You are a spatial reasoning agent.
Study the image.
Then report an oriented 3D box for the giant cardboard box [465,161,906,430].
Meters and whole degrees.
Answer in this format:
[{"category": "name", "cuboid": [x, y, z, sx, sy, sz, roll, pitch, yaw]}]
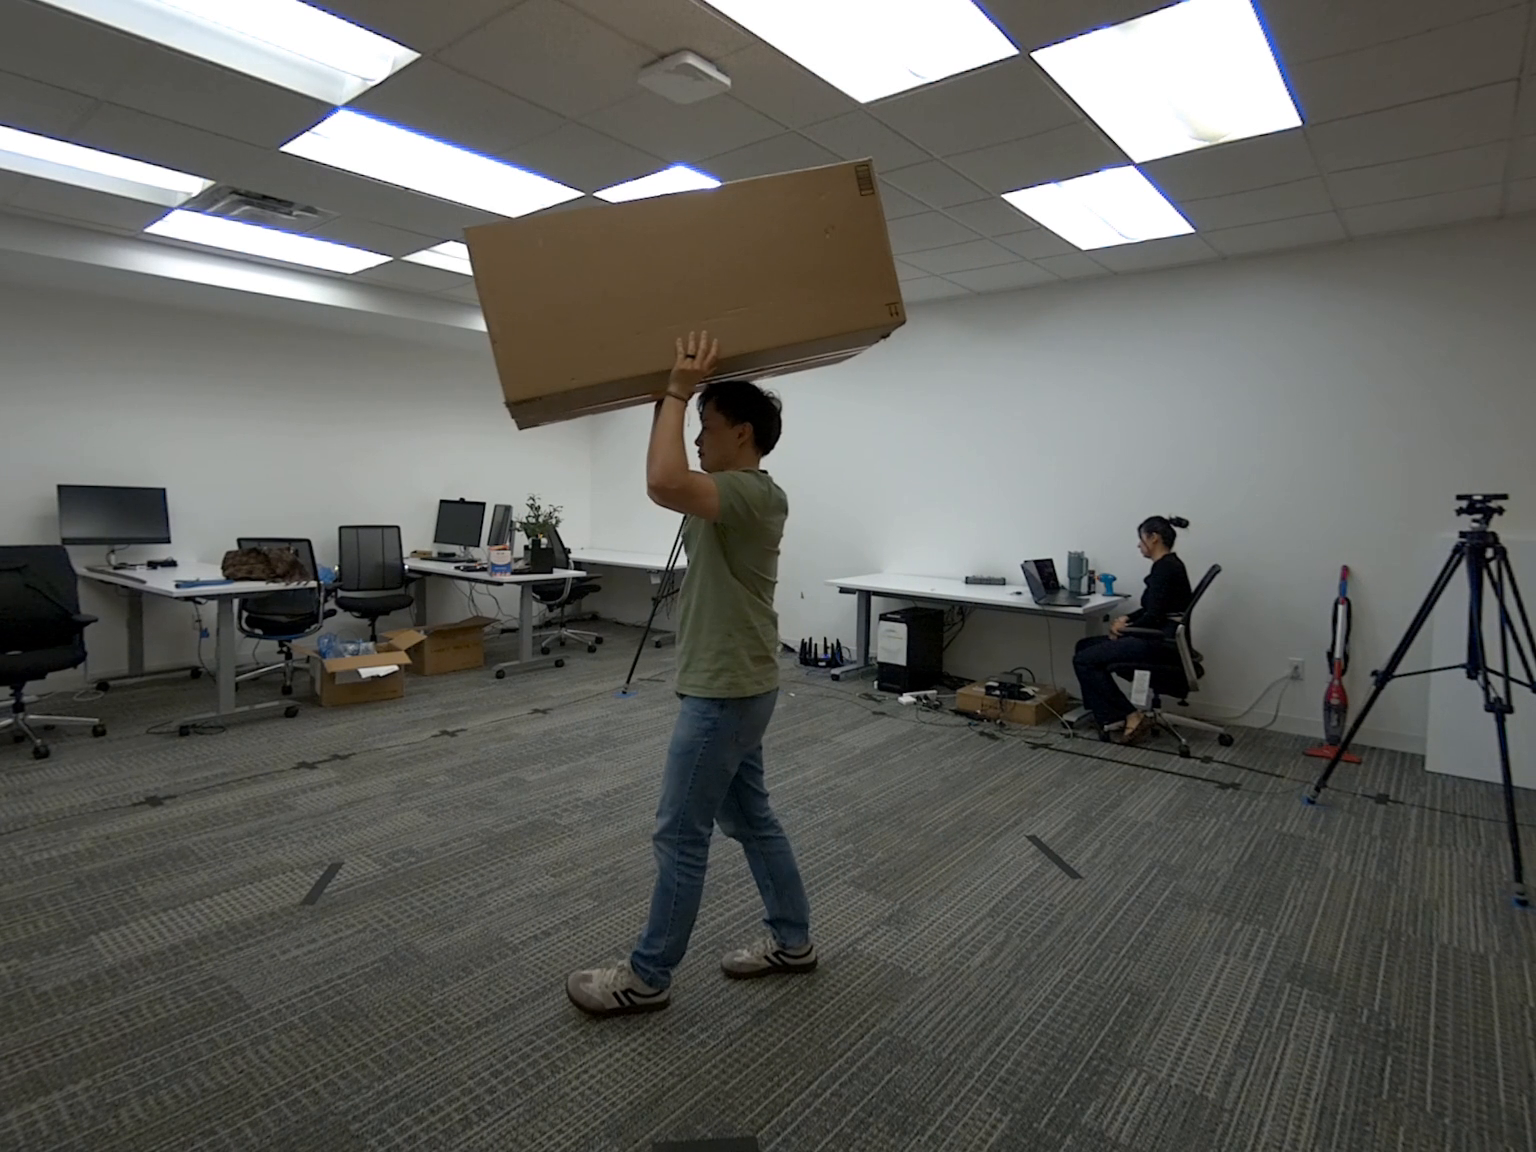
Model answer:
[{"category": "giant cardboard box", "cuboid": [-0.249, -0.741, 2.329, 1.017, 0.424, 0.585, -14, 6, -10]}]
